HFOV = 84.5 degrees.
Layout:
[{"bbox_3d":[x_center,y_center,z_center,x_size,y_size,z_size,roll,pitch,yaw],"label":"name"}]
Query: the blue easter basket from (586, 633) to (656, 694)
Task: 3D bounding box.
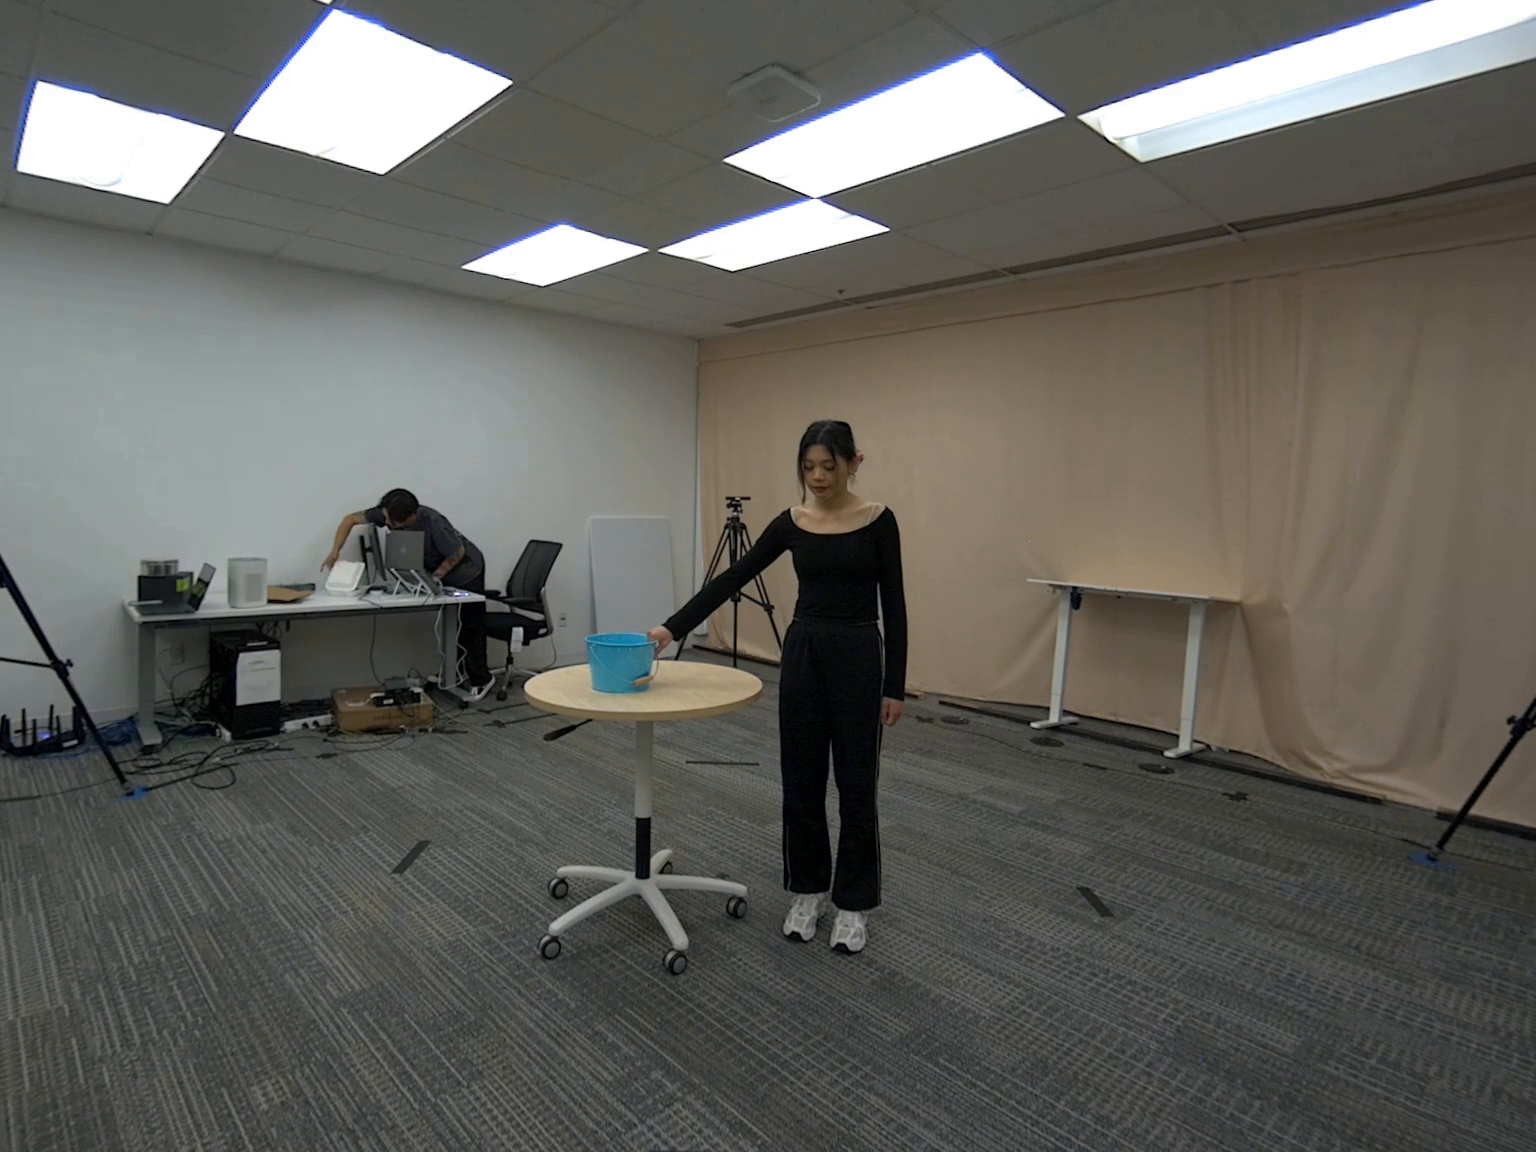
[{"bbox_3d":[-0.466,0.279,2.666,0.243,0.155,0.244,1,3,-1],"label":"blue easter basket"}]
